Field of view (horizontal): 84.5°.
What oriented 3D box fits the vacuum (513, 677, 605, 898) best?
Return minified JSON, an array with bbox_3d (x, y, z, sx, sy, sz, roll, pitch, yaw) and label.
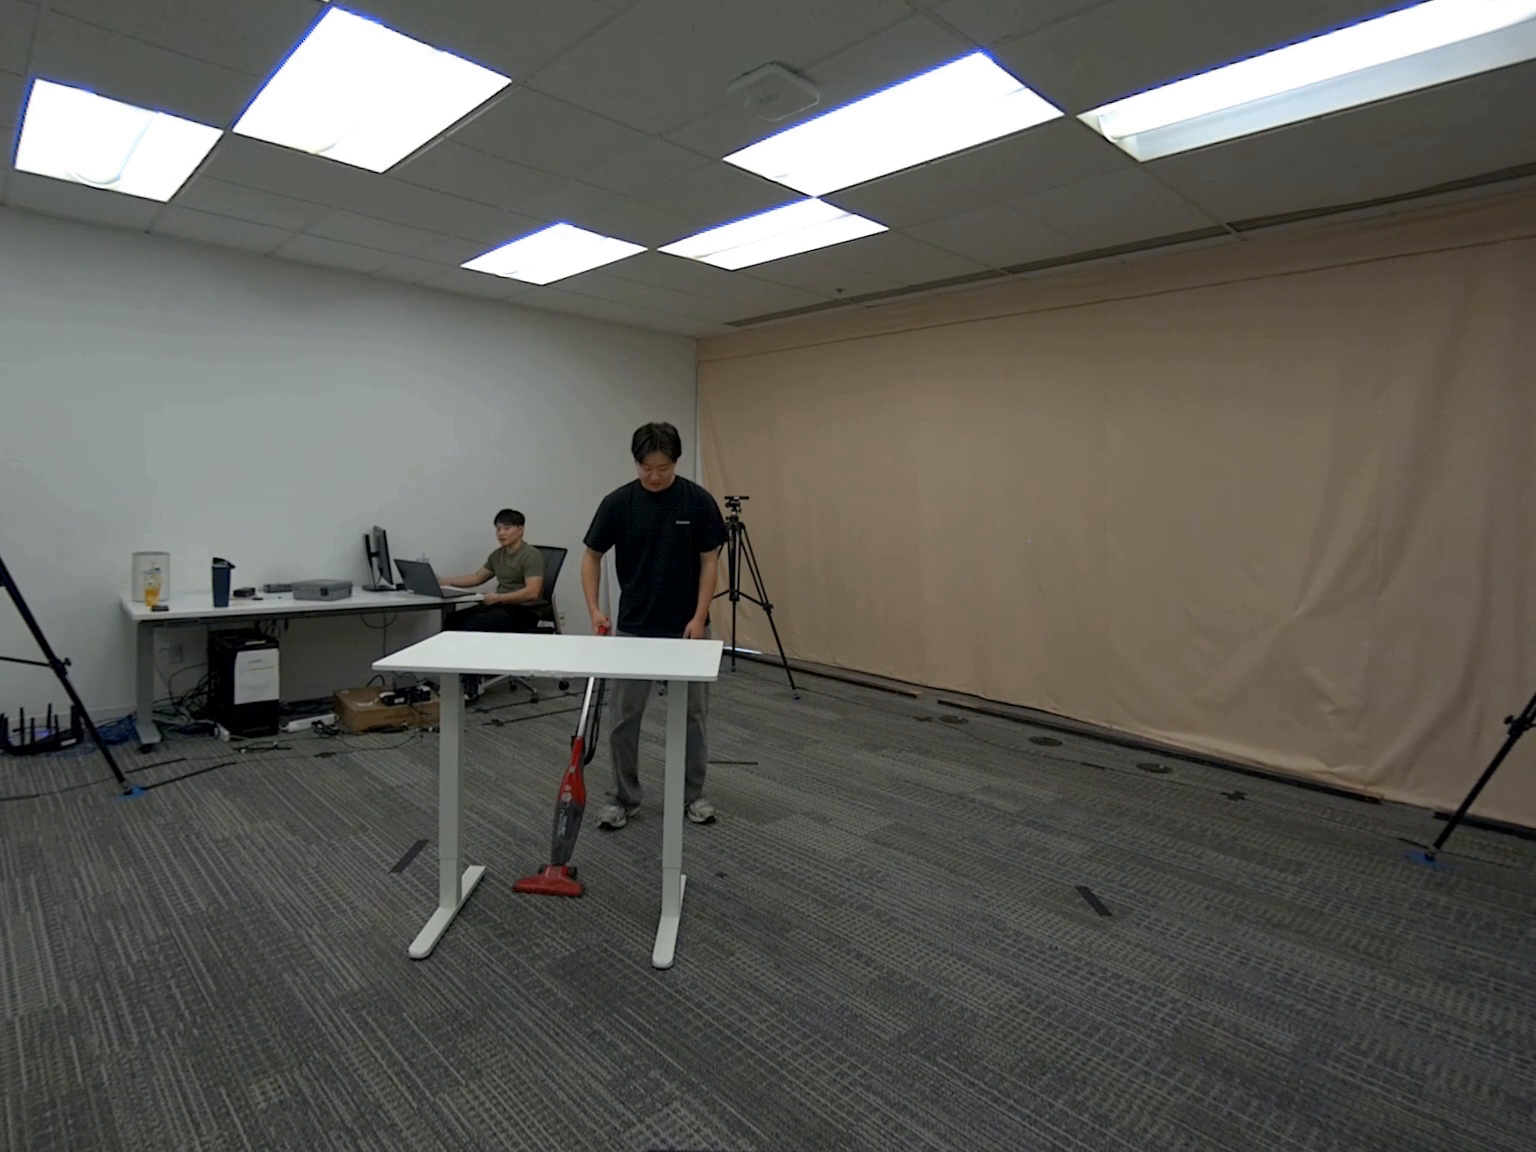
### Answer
[{"bbox_3d":[-0.730,0.648,3.263,0.254,1.068,0.140,1,-33,7],"label":"vacuum"}]
